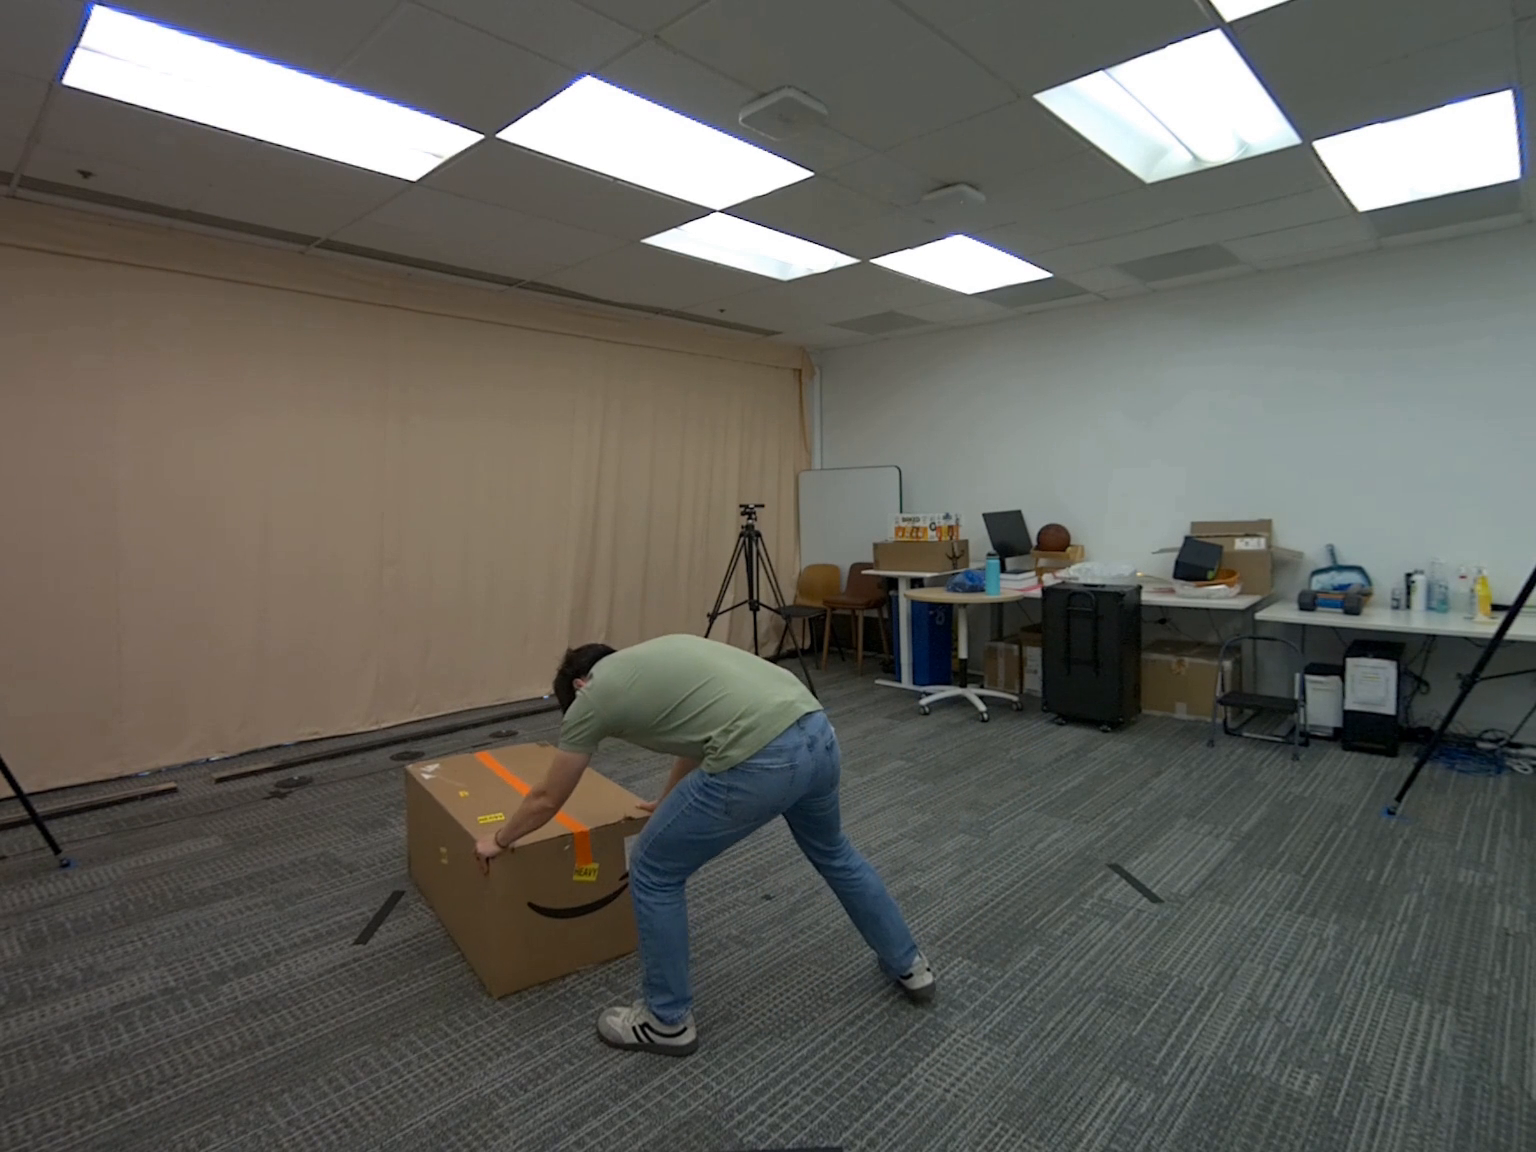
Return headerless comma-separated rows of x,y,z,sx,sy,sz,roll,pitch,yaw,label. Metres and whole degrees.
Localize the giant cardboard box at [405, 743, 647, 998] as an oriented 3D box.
-0.850,0.946,2.955,0.561,0.425,1.058,-4,6,-35,giant cardboard box
